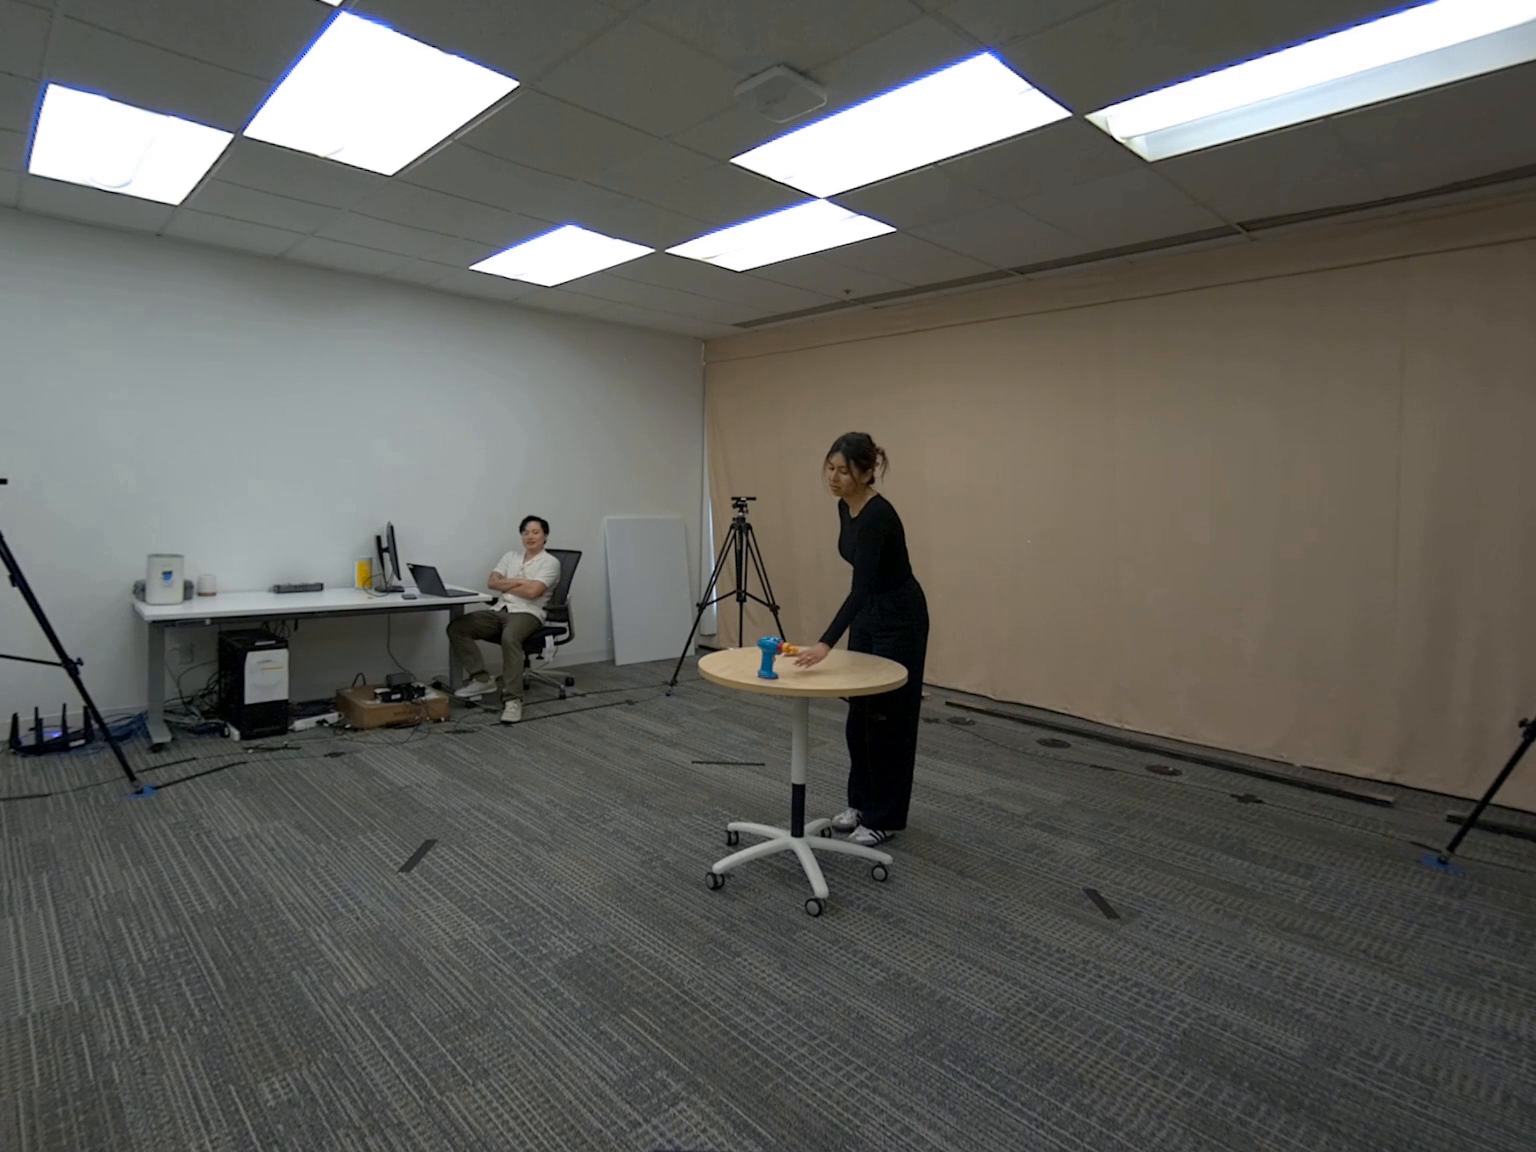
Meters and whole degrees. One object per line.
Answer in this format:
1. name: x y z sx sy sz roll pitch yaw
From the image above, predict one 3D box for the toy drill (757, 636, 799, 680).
1. toy drill: 0.028 0.281 2.847 0.174 0.145 0.060 7 6 37
